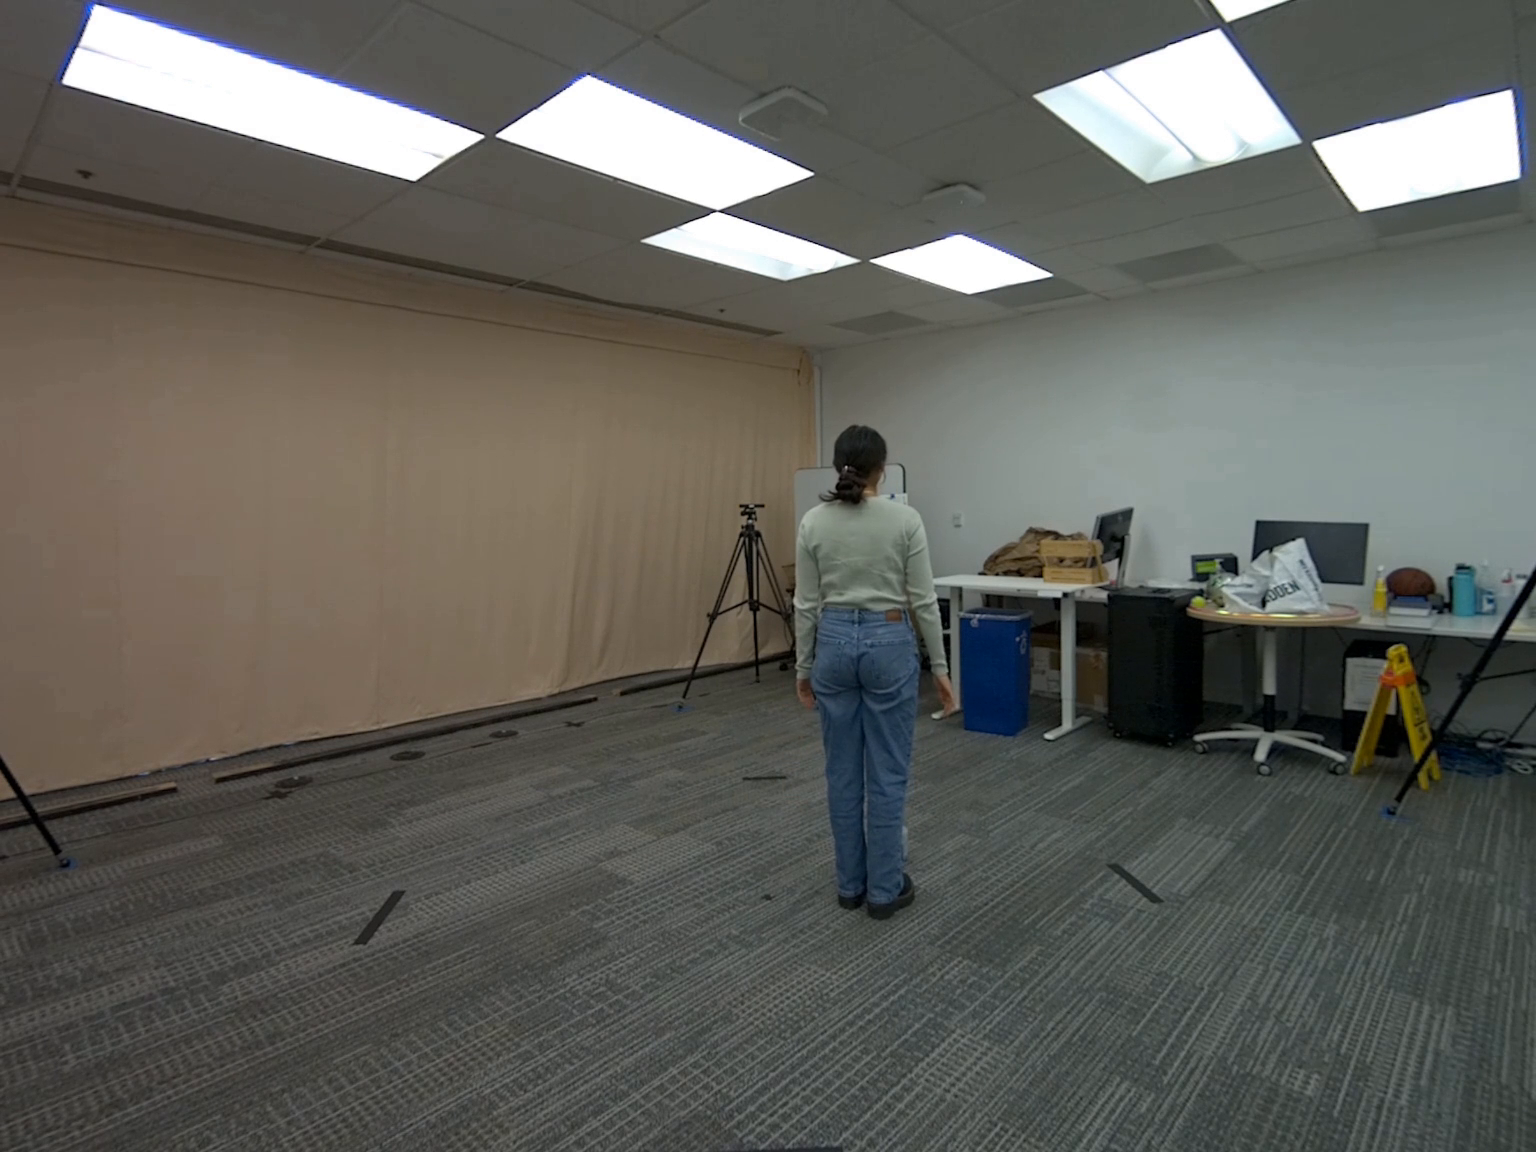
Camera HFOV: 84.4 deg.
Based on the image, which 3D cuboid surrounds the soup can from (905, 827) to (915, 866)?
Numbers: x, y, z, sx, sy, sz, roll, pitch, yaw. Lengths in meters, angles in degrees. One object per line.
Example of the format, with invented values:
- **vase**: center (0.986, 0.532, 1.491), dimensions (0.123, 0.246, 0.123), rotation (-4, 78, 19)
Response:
- **soup can**: center (0.522, 1.045, 3.282), dimensions (0.067, 0.121, 0.067), rotation (2, 0, -2)
